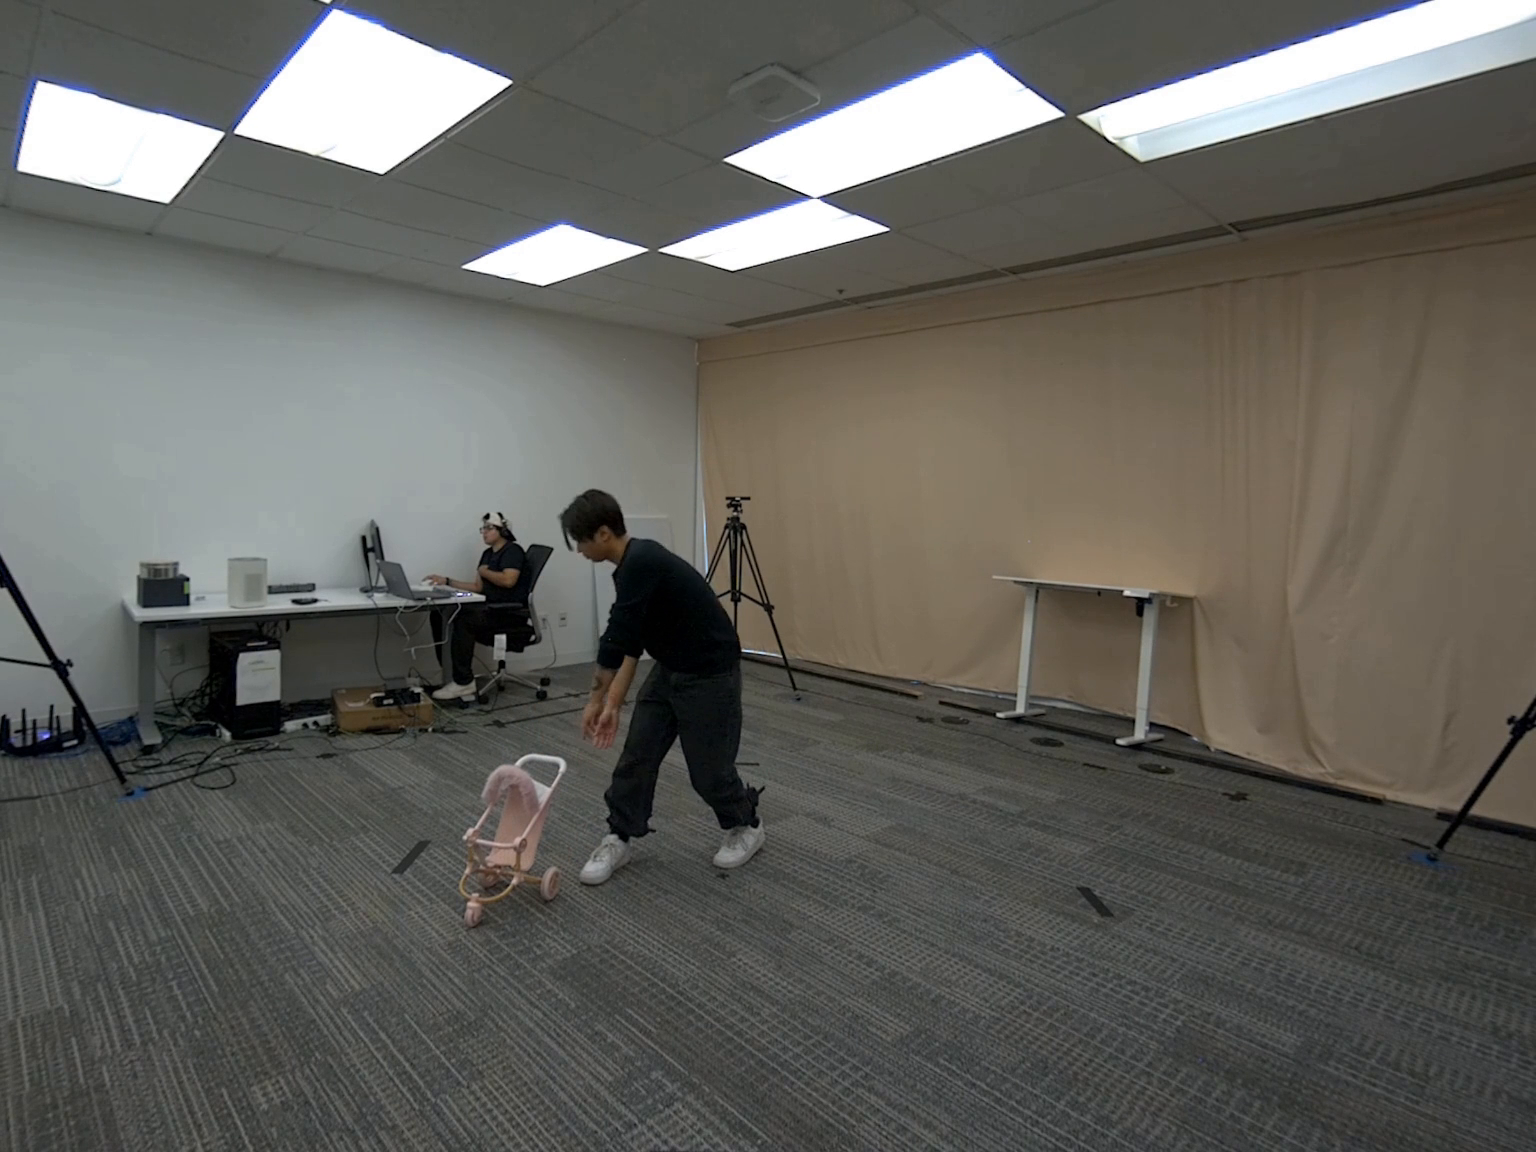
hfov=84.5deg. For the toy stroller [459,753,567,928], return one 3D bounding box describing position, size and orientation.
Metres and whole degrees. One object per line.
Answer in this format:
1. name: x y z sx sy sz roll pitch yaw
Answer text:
1. toy stroller: -0.890 0.888 2.862 0.287 0.538 0.333 2 -11 24
